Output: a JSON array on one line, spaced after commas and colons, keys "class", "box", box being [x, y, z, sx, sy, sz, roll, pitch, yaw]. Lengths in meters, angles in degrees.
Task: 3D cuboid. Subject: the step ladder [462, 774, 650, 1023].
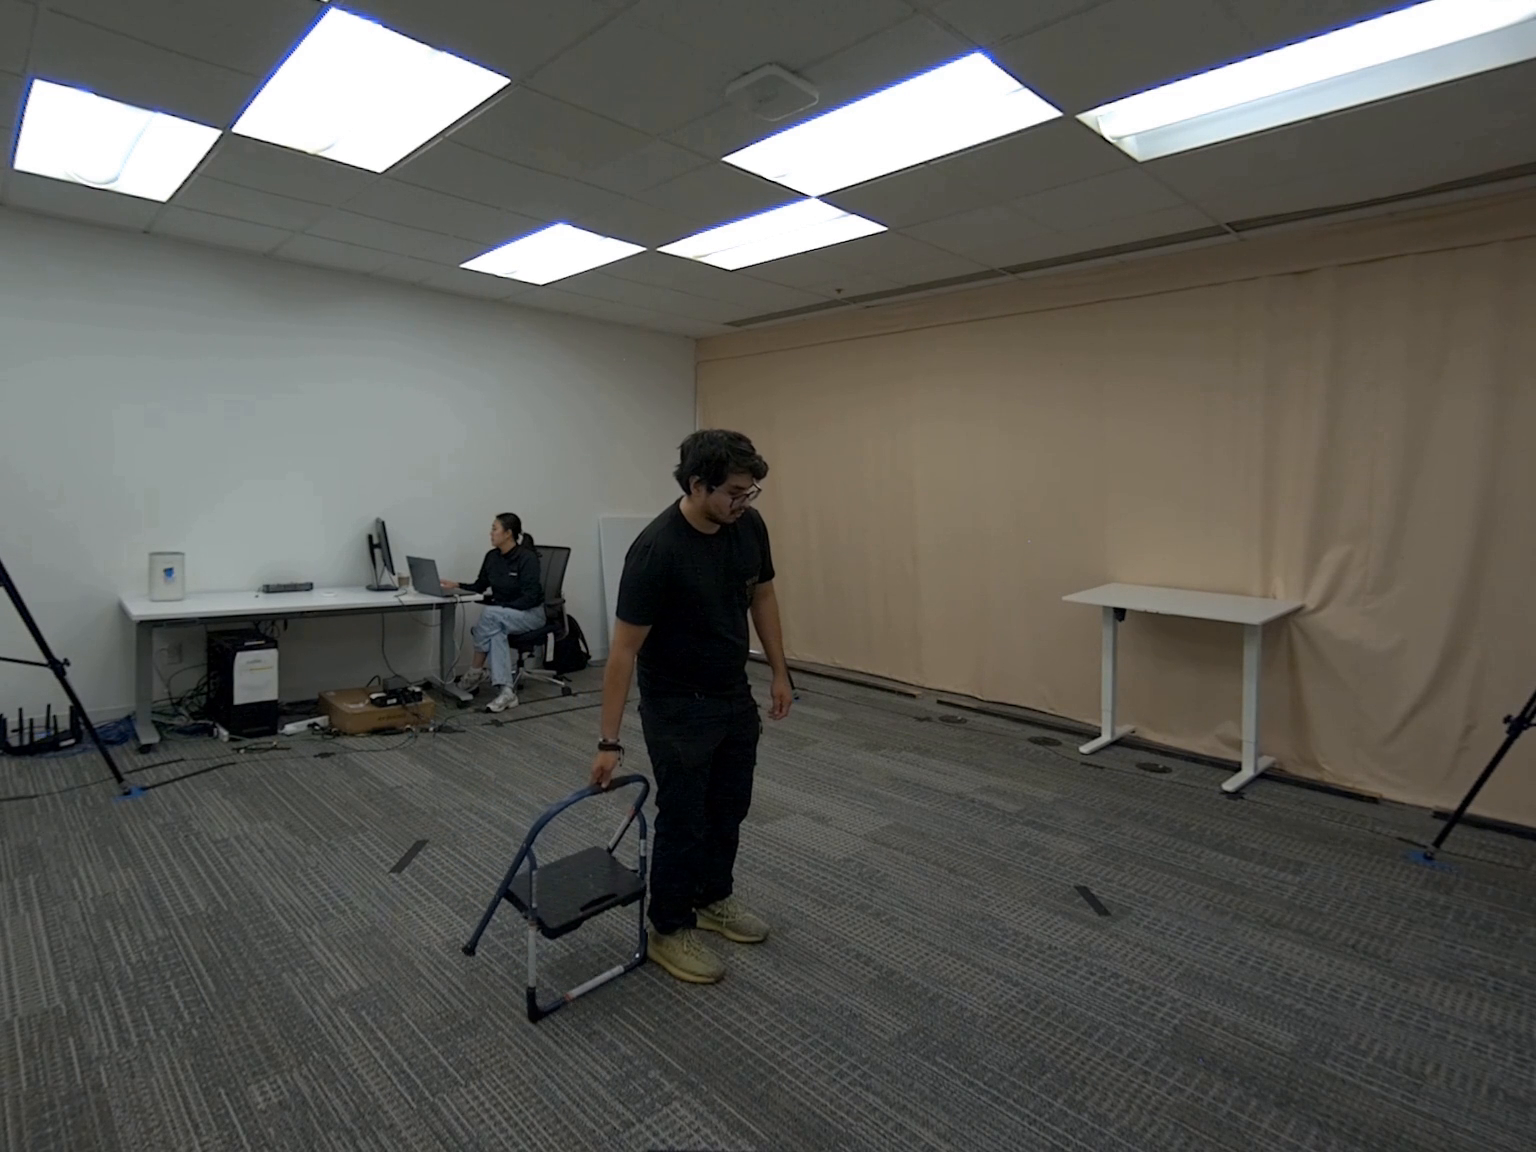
[{"class": "step ladder", "box": [-0.558, 0.830, 2.389, 0.359, 0.602, 0.421, 22, 16, 37]}]
